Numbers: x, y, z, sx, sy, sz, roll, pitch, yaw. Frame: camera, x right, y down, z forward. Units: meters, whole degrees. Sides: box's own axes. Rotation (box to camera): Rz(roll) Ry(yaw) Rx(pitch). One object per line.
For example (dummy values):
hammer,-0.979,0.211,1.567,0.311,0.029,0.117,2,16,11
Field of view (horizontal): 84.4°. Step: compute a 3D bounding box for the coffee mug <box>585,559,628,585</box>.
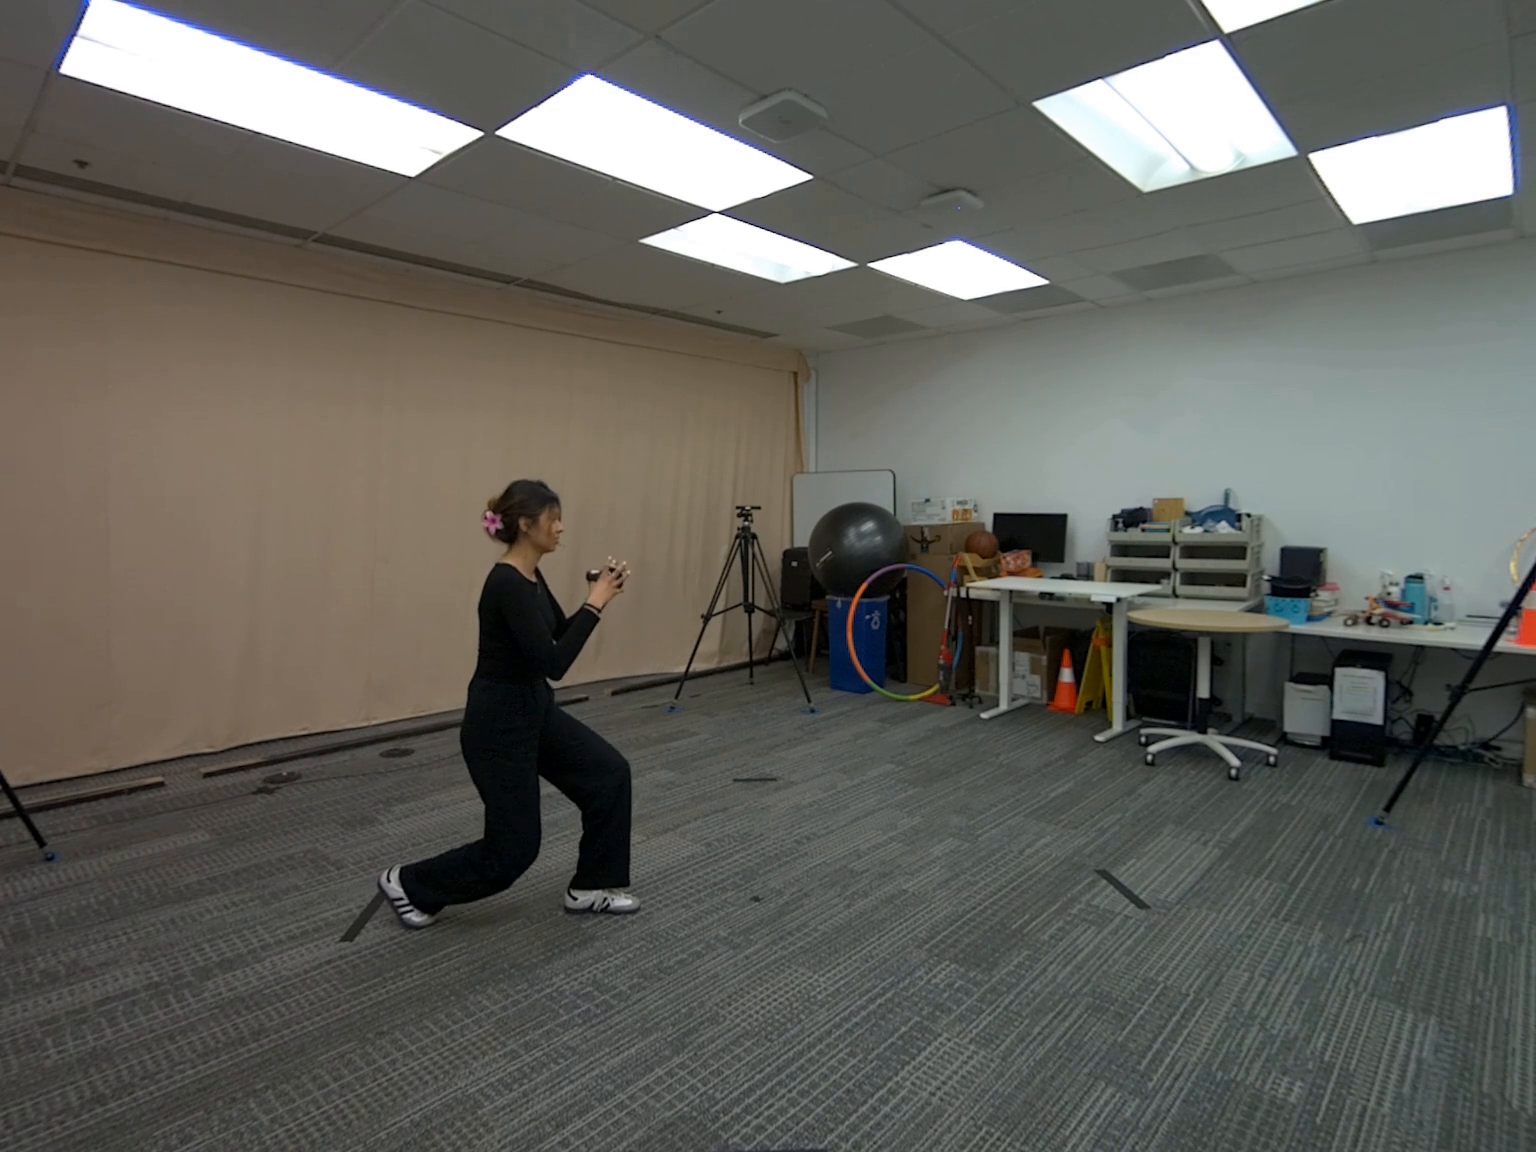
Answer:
coffee mug,-0.546,-0.010,2.830,0.119,0.088,0.207,26,3,-19
